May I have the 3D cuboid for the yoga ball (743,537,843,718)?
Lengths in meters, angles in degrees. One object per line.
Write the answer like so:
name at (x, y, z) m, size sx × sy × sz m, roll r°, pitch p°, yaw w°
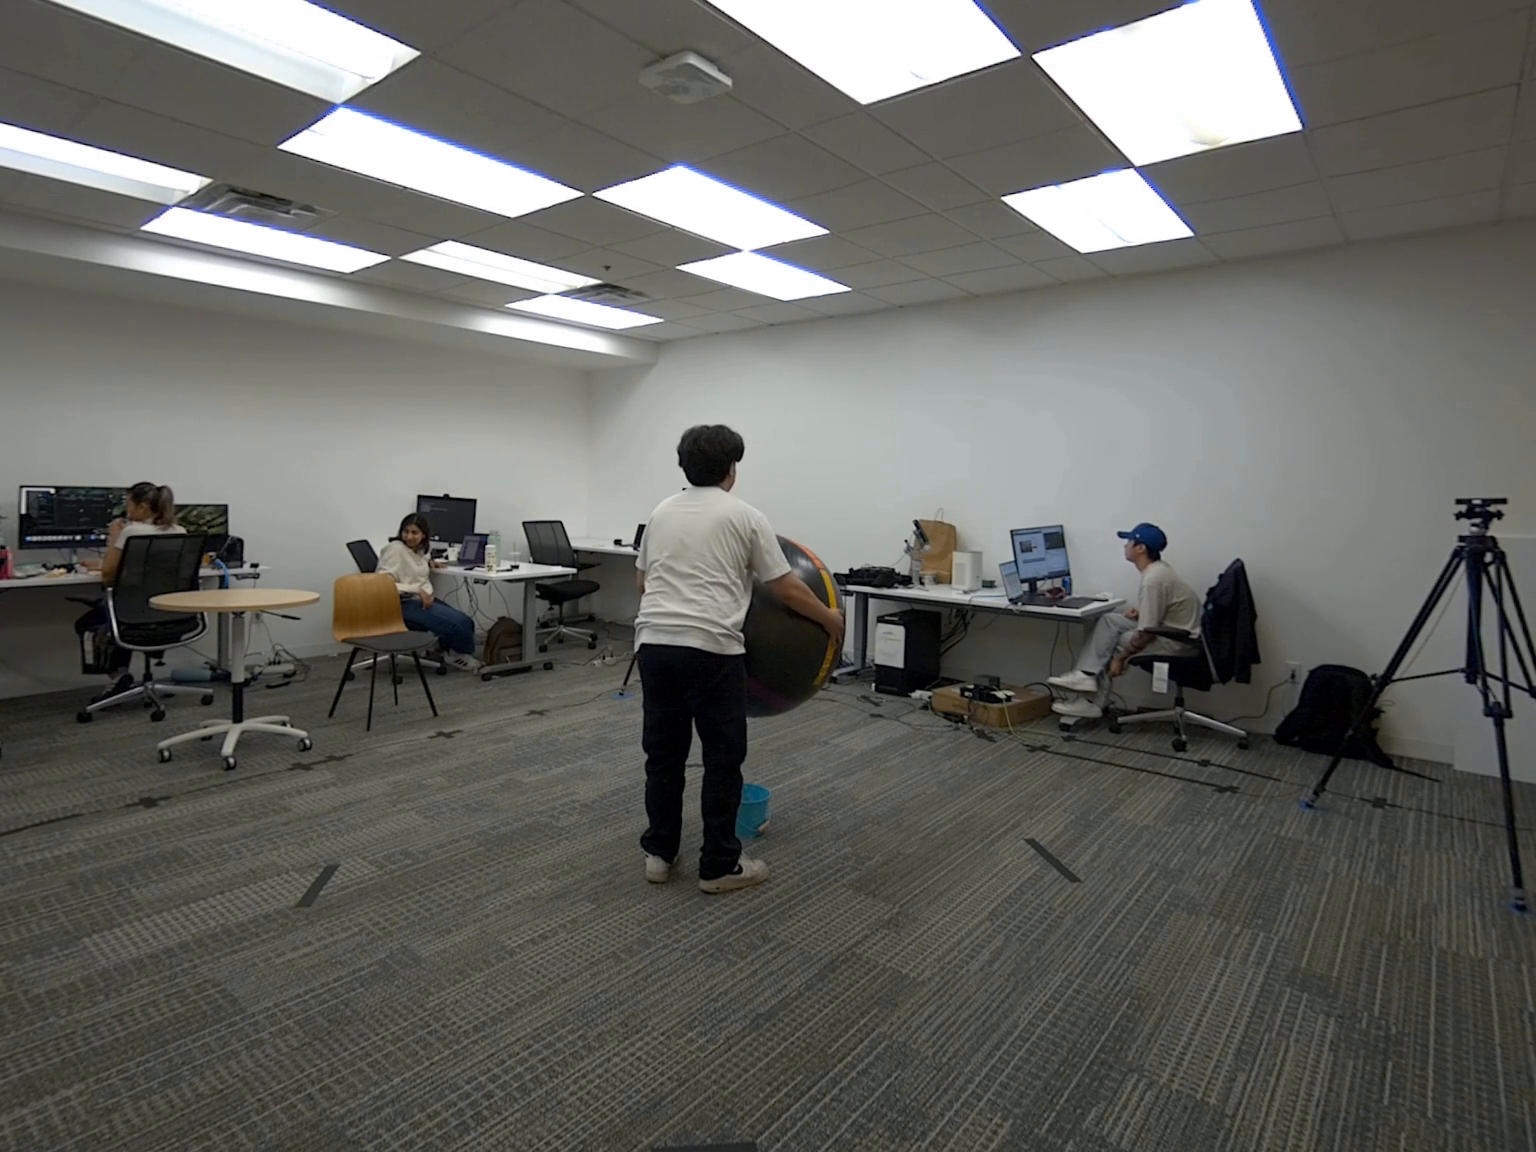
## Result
yoga ball at (-0.059, 0.199, 3.504) m, size 0.757 × 0.755 × 0.762 m, roll 1°, pitch 4°, yaw -2°
